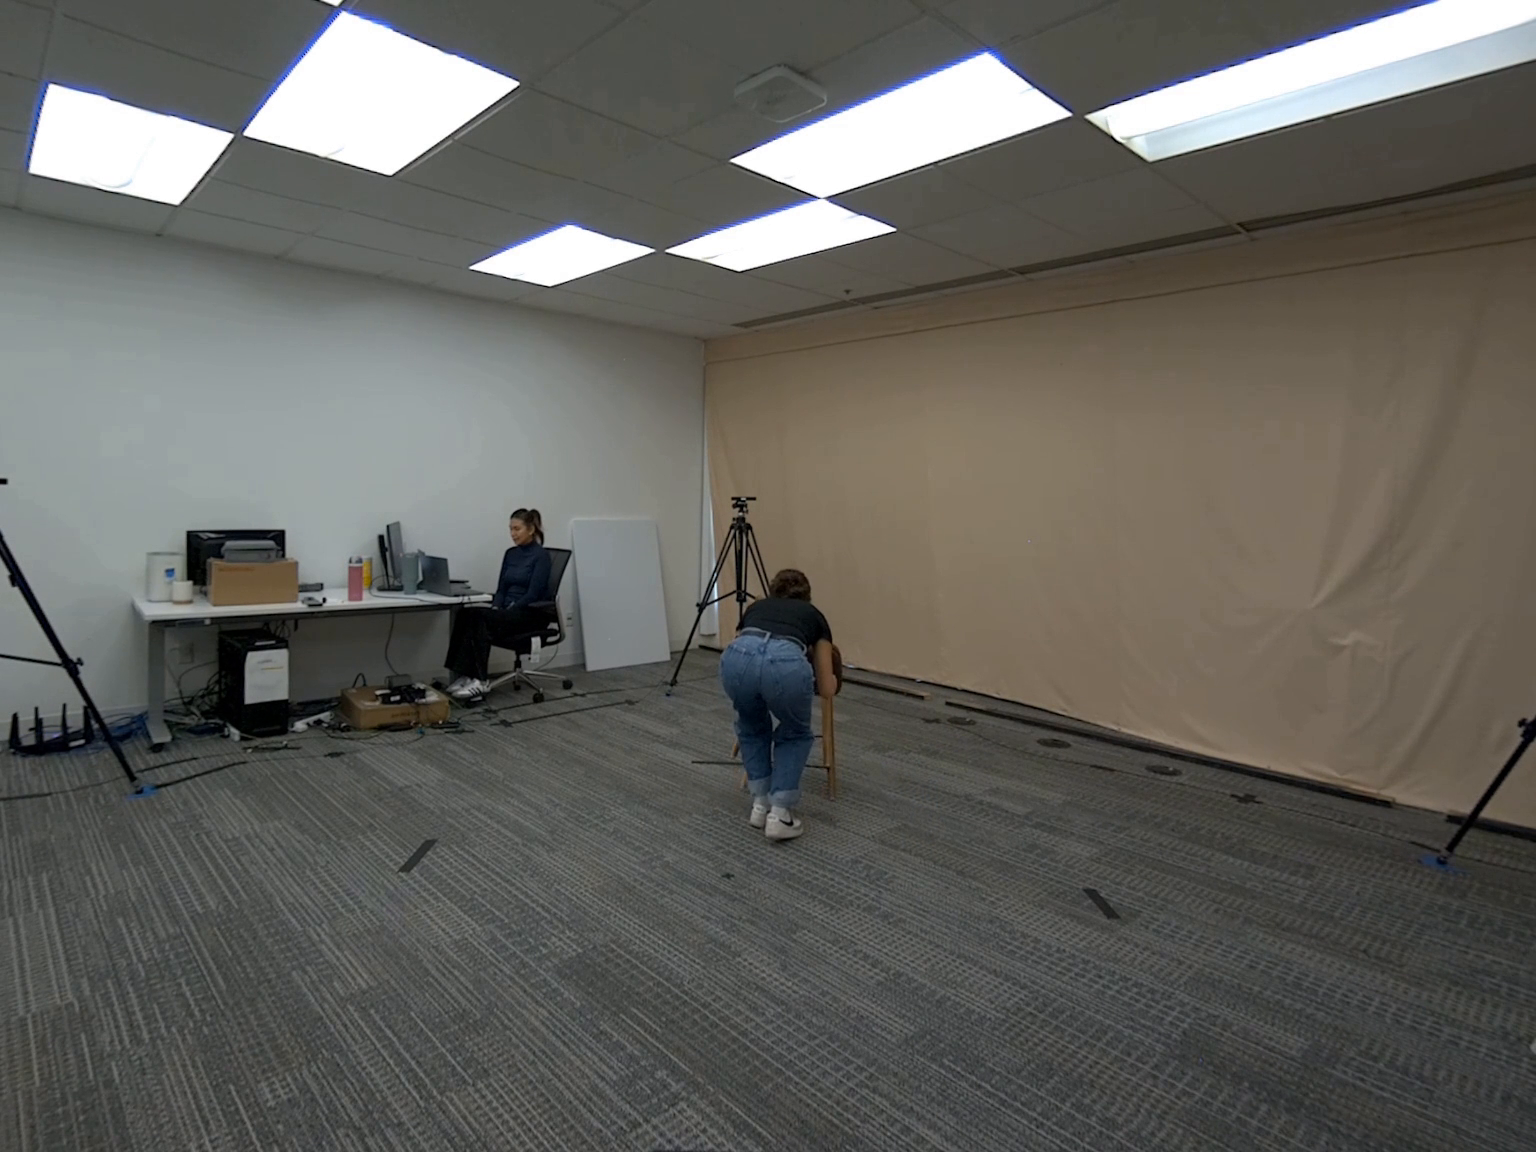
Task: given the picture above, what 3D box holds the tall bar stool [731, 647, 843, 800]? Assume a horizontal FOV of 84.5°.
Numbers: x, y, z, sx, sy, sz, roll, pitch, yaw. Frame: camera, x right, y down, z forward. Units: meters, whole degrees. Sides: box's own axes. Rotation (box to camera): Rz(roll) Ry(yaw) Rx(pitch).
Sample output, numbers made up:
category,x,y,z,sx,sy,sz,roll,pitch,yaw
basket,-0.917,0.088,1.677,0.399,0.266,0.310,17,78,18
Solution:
category,x,y,z,sx,sy,sz,roll,pitch,yaw
tall bar stool,0.112,0.569,4.085,0.471,0.905,0.444,0,-37,10
